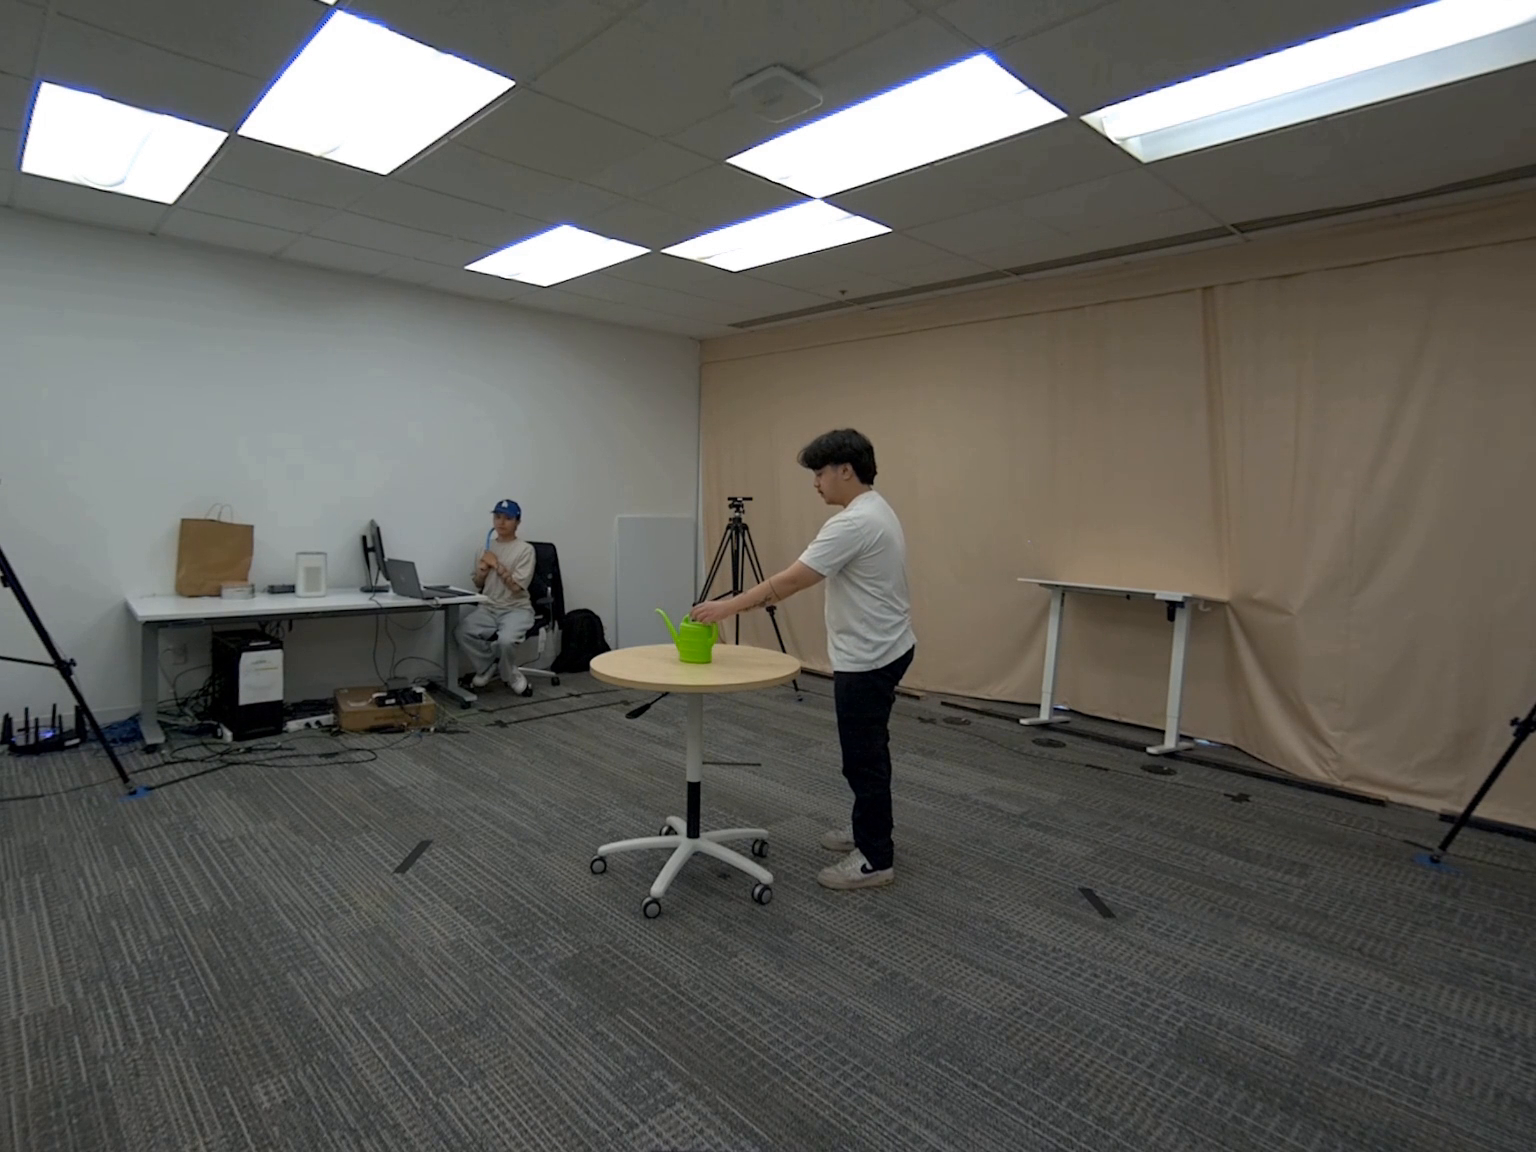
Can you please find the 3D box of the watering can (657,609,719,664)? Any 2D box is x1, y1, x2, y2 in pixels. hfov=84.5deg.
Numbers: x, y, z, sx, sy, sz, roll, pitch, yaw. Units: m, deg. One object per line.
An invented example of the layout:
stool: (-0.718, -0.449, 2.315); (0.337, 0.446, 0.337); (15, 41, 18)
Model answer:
watering can: (-0.303, 0.222, 3.117); (0.285, 0.176, 0.096); (8, 7, 43)
